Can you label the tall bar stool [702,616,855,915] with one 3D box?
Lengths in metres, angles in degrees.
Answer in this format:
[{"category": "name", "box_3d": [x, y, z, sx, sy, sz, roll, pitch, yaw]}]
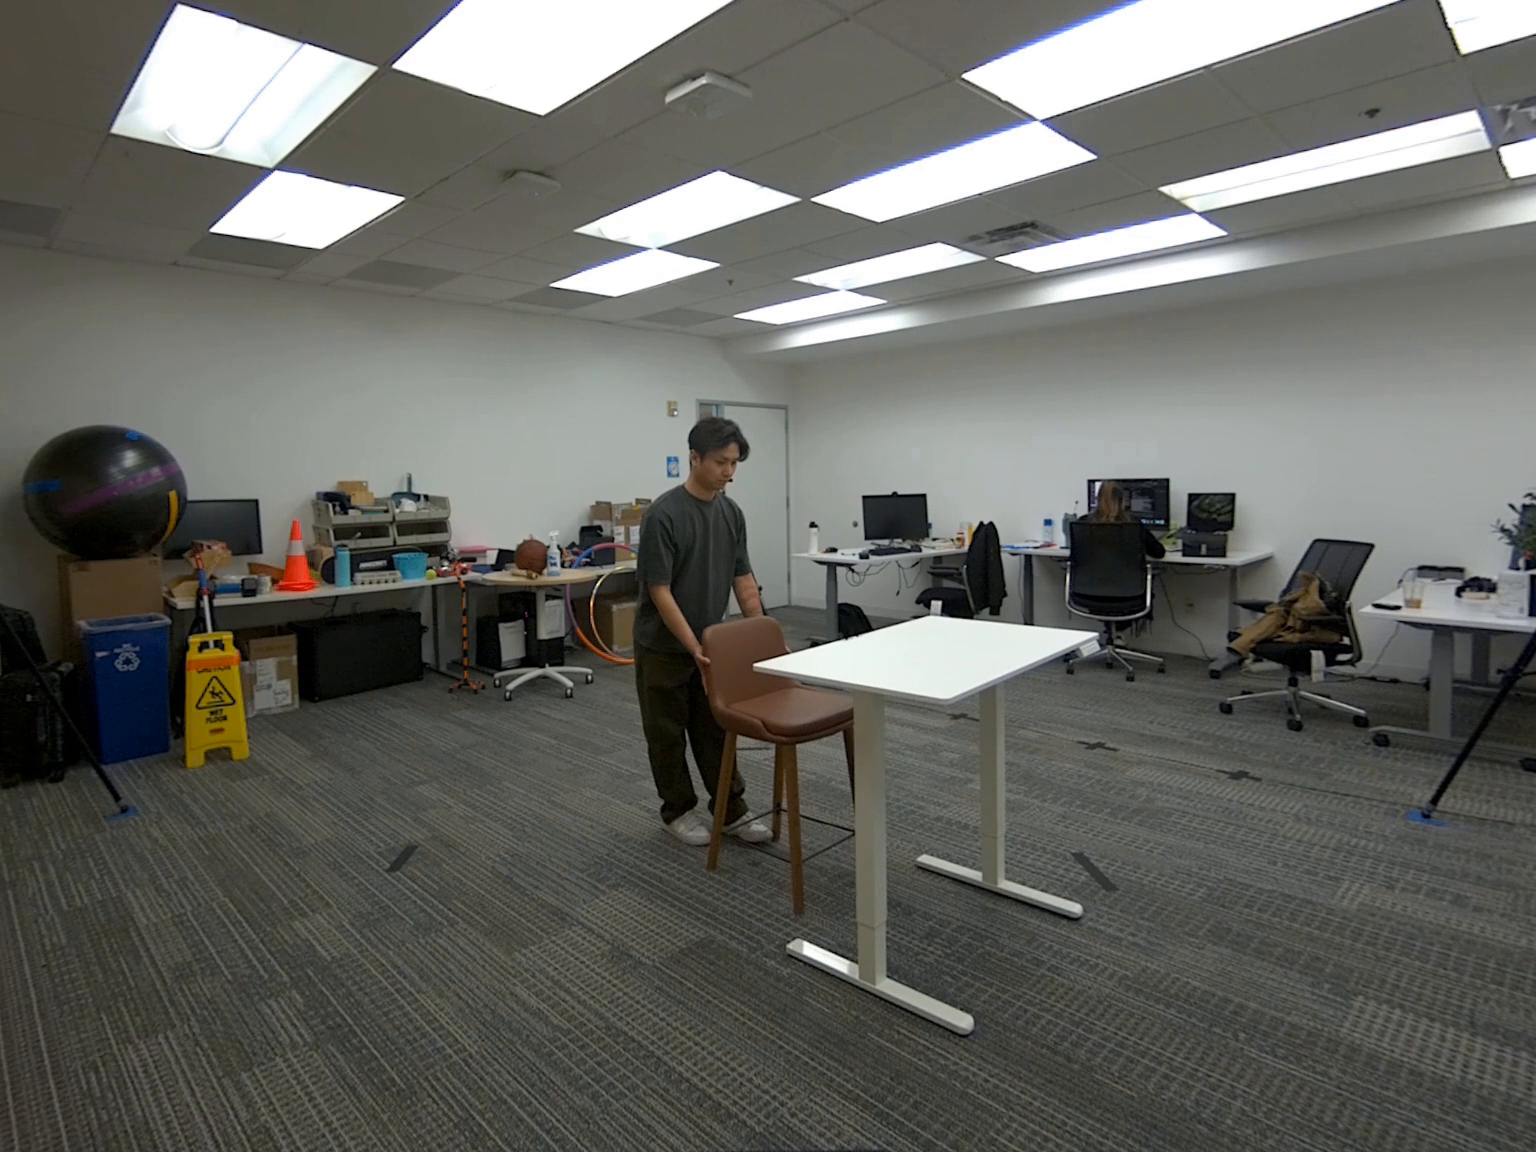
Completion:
[{"category": "tall bar stool", "box_3d": [0.061, 0.614, 3.010, 0.481, 0.888, 0.444, 0, 3, 43]}]
